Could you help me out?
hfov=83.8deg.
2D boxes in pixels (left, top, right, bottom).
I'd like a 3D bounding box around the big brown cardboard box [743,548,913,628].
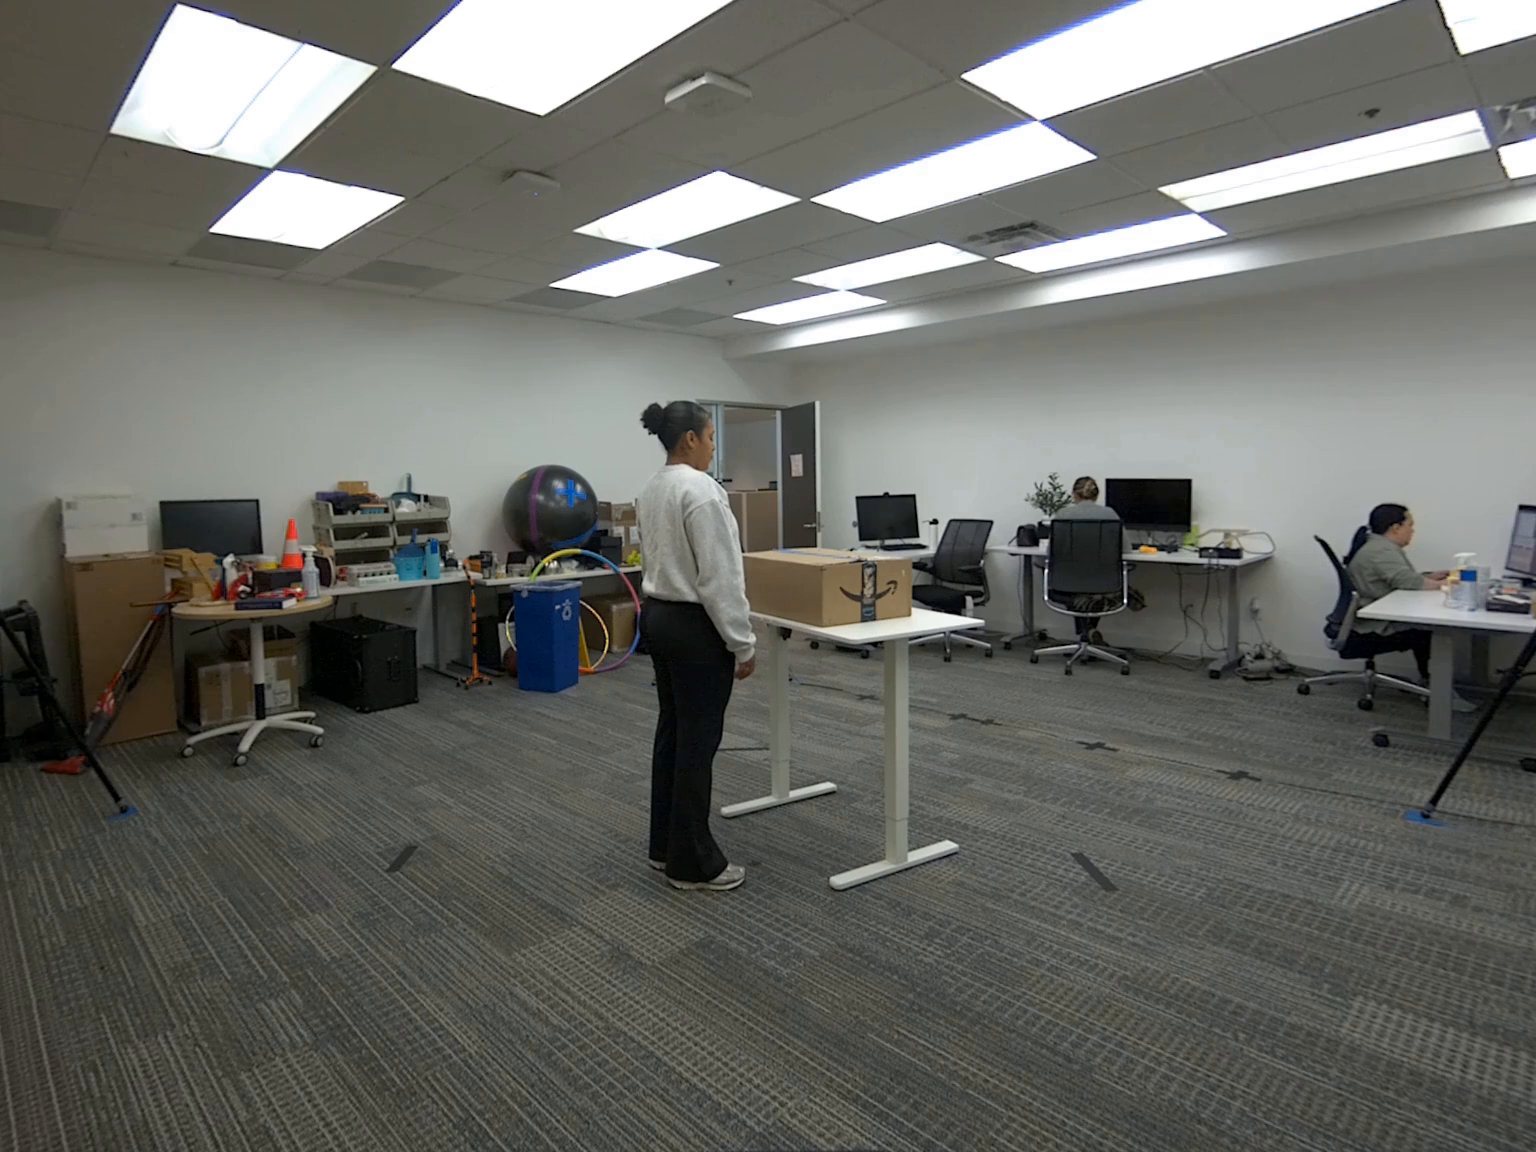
[{"bbox_3d":[0.203,0.029,3.274,0.407,0.232,0.606,-5,7,-32],"label":"big brown cardboard box"}]
